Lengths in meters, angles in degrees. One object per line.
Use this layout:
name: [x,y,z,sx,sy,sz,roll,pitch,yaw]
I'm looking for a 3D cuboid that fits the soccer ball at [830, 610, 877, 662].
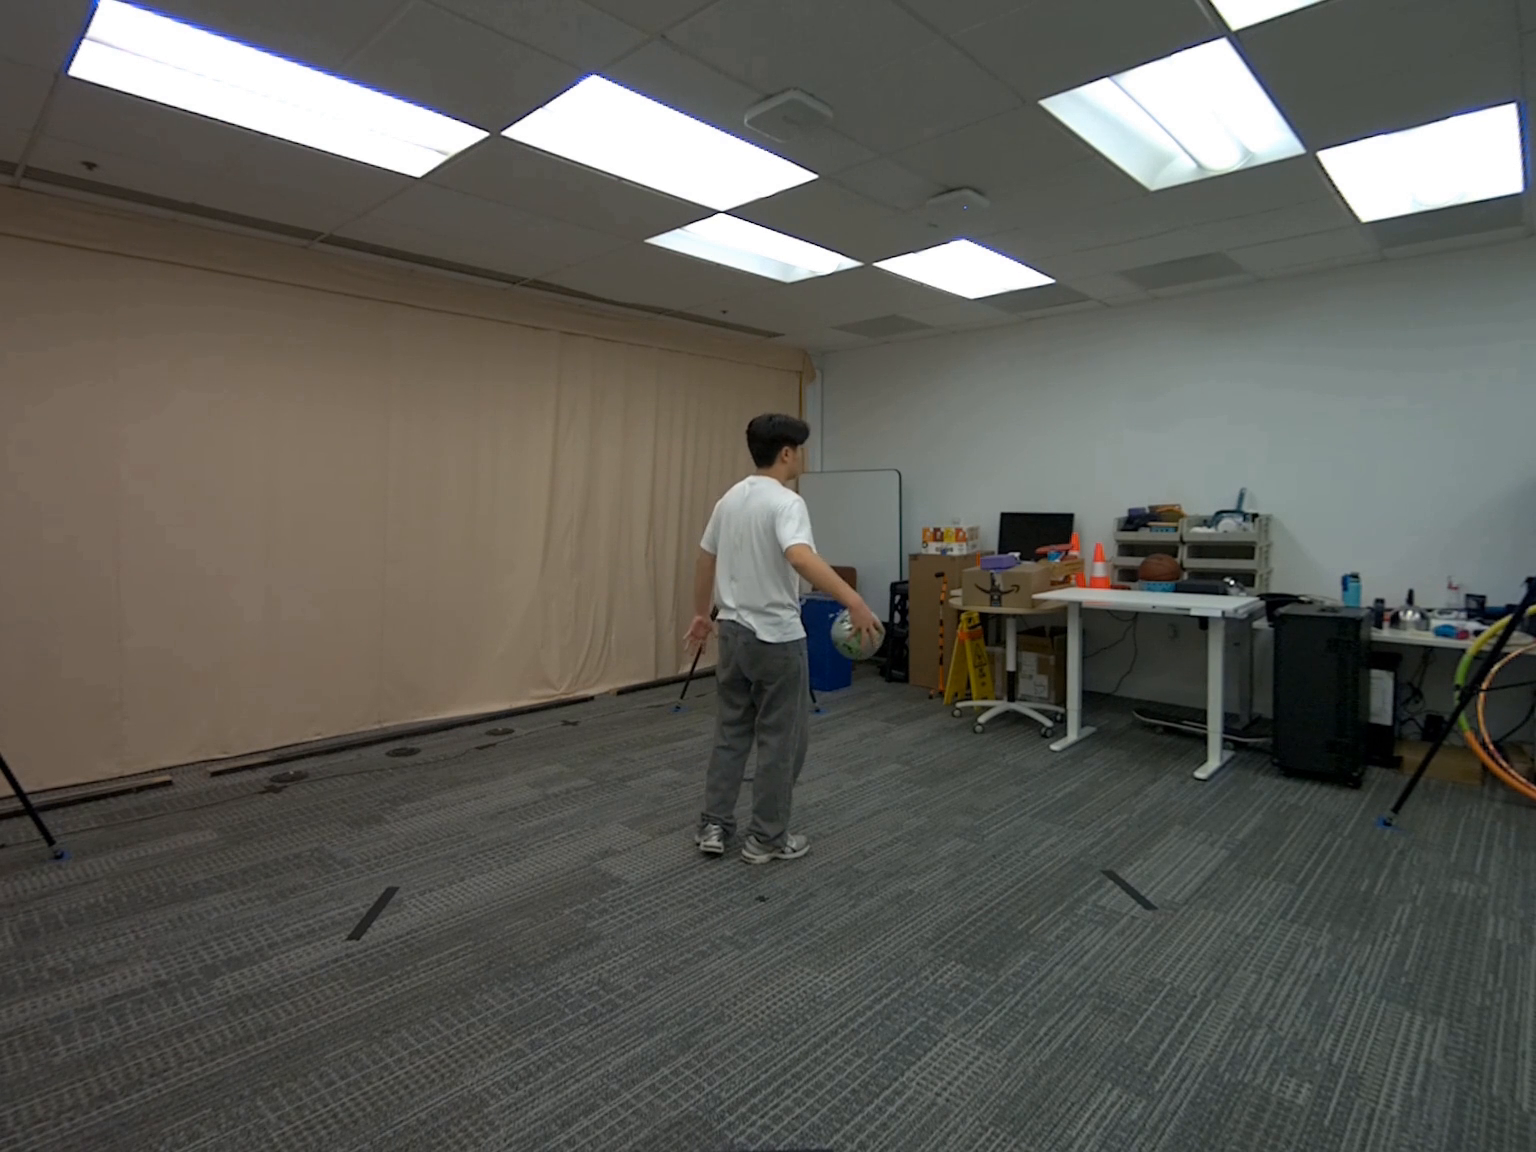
soccer ball: [0.287,0.201,3.043,0.187,0.187,0.188,0,4,-2]
